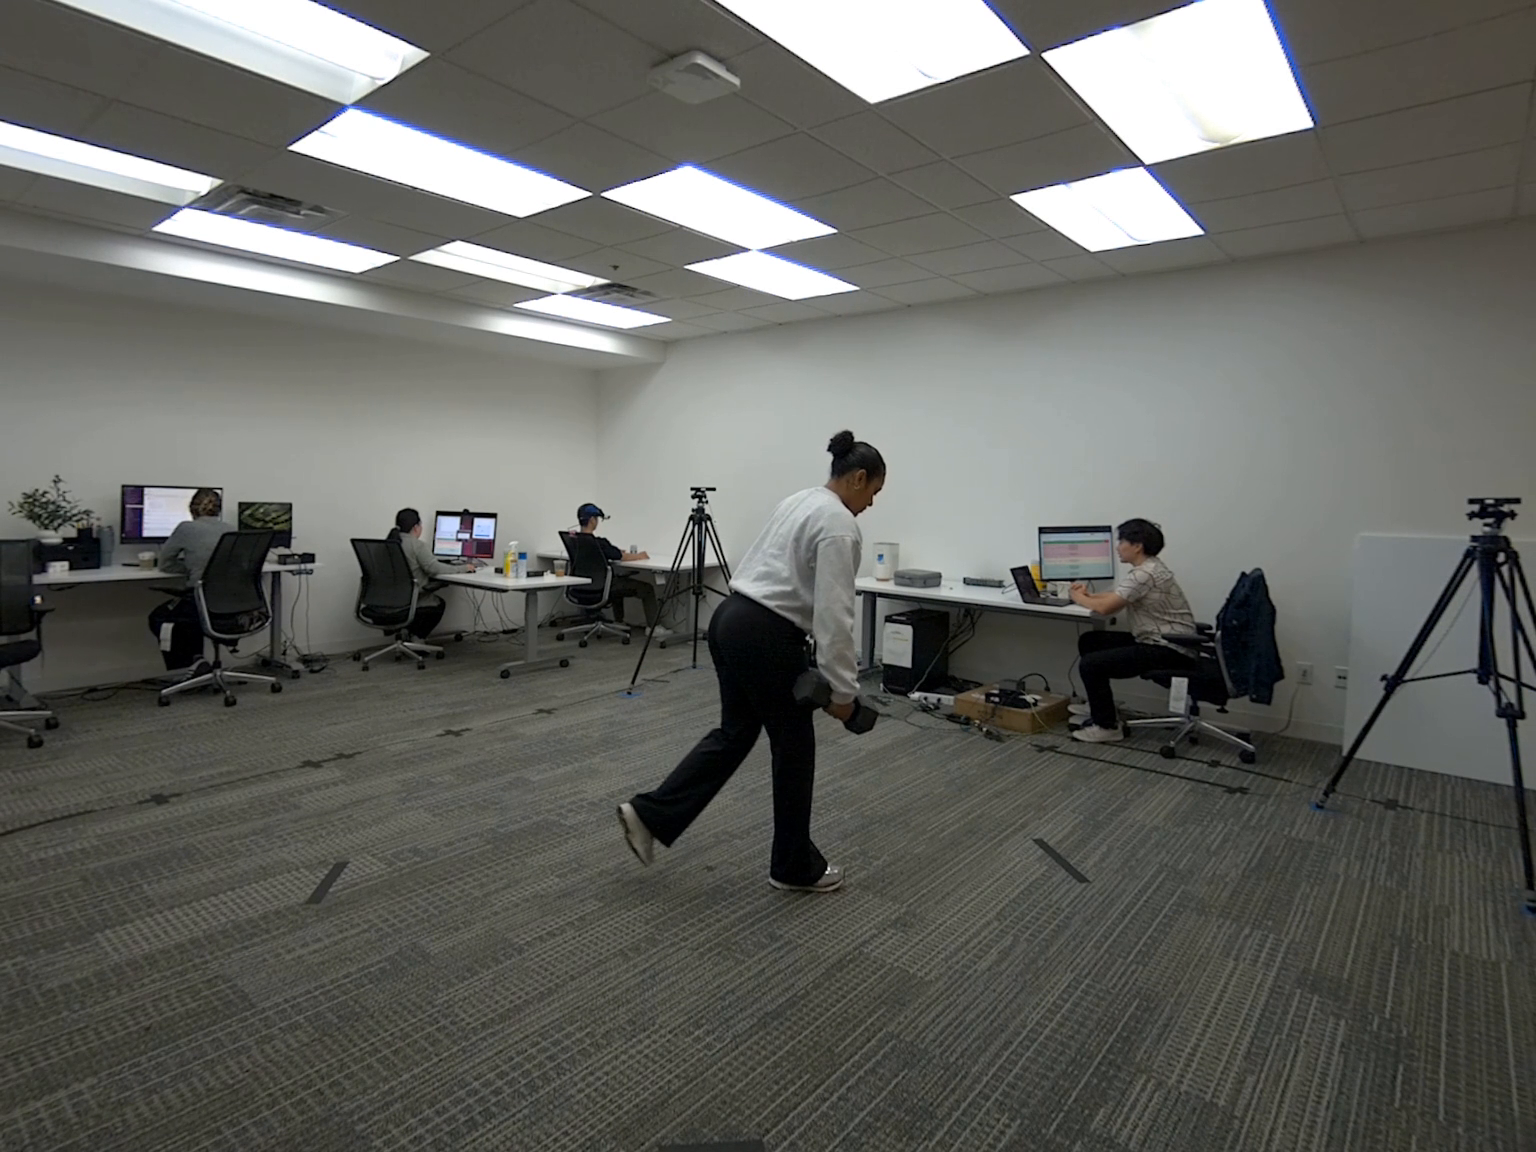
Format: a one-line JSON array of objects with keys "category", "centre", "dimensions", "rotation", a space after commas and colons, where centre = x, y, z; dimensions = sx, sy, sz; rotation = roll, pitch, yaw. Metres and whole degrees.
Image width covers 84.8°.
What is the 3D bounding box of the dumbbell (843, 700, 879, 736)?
[{"category": "dumbbell", "centre": [0.211, 0.408, 2.765], "dimensions": [0.285, 0.123, 0.111], "rotation": [27, -9, -23]}]
